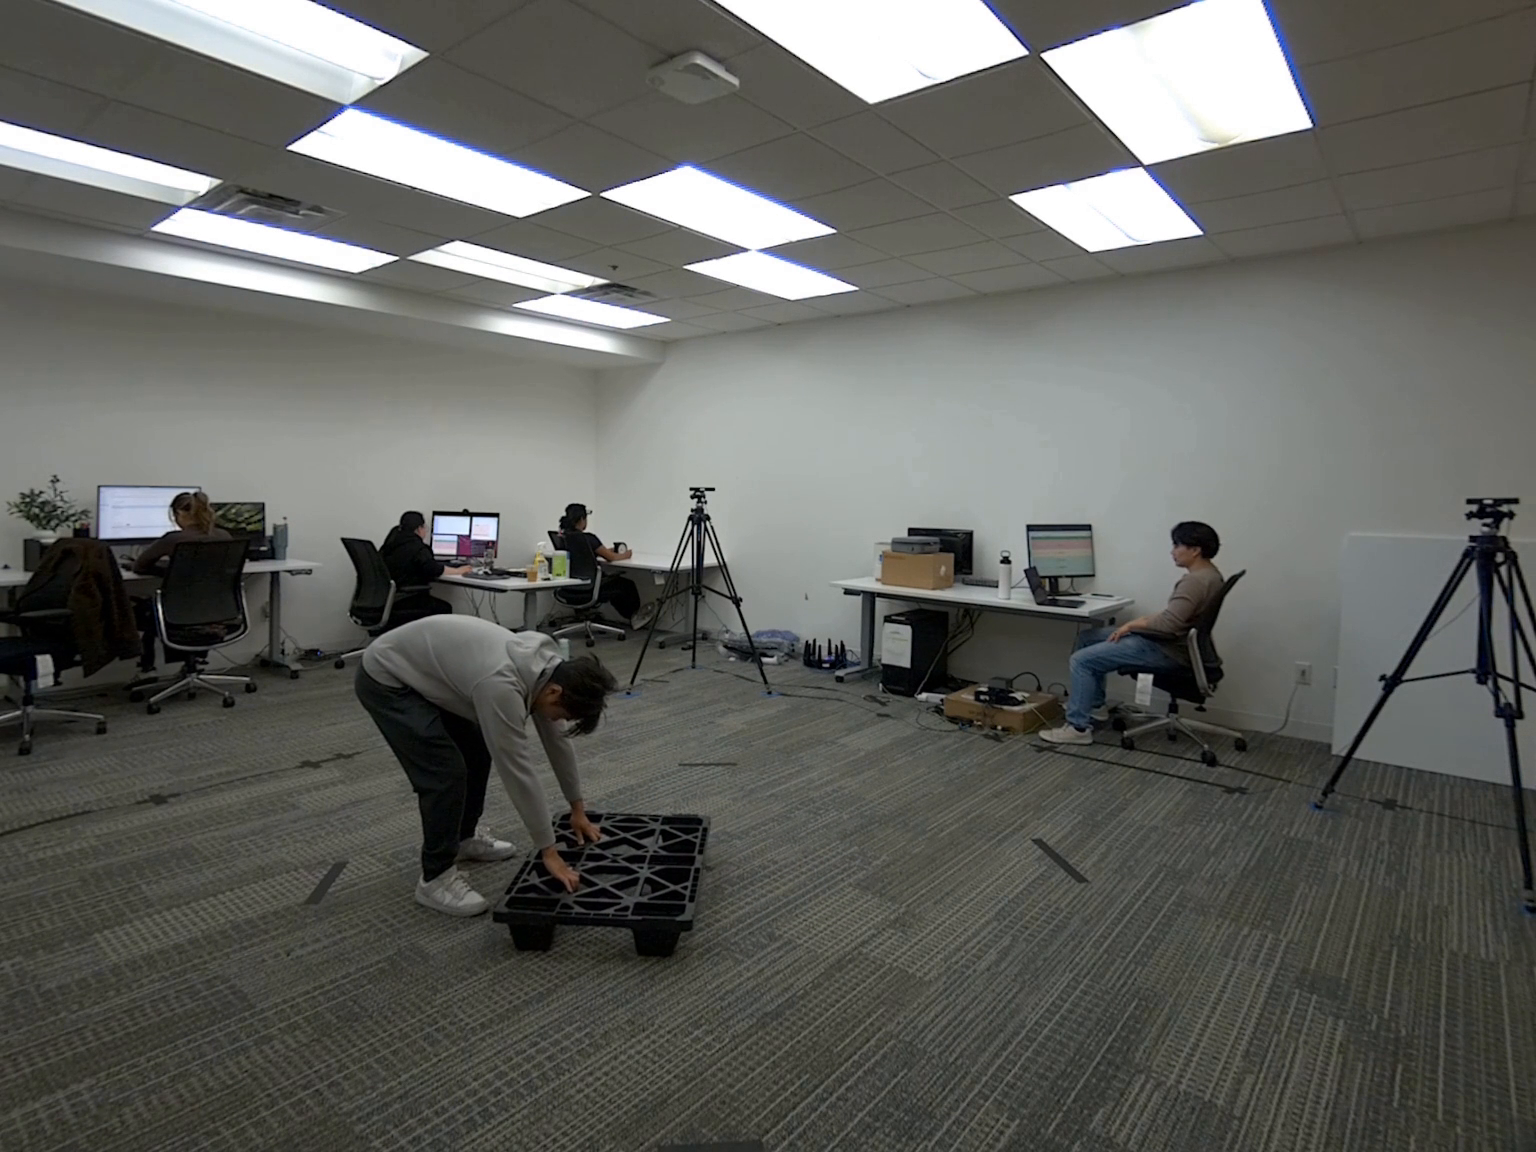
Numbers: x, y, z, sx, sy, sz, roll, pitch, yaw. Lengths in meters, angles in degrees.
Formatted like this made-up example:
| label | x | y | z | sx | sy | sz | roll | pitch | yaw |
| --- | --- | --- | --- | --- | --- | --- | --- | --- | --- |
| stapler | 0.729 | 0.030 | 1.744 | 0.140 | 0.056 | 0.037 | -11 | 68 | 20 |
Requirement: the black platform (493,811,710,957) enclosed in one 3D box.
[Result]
| label | x | y | z | sx | sy | sz | roll | pitch | yaw |
| --- | --- | --- | --- | --- | --- | --- | --- | --- | --- |
| black platform | -0.529 | 1.012 | 2.882 | 0.607 | 0.143 | 0.807 | 0 | 6 | 1 |
